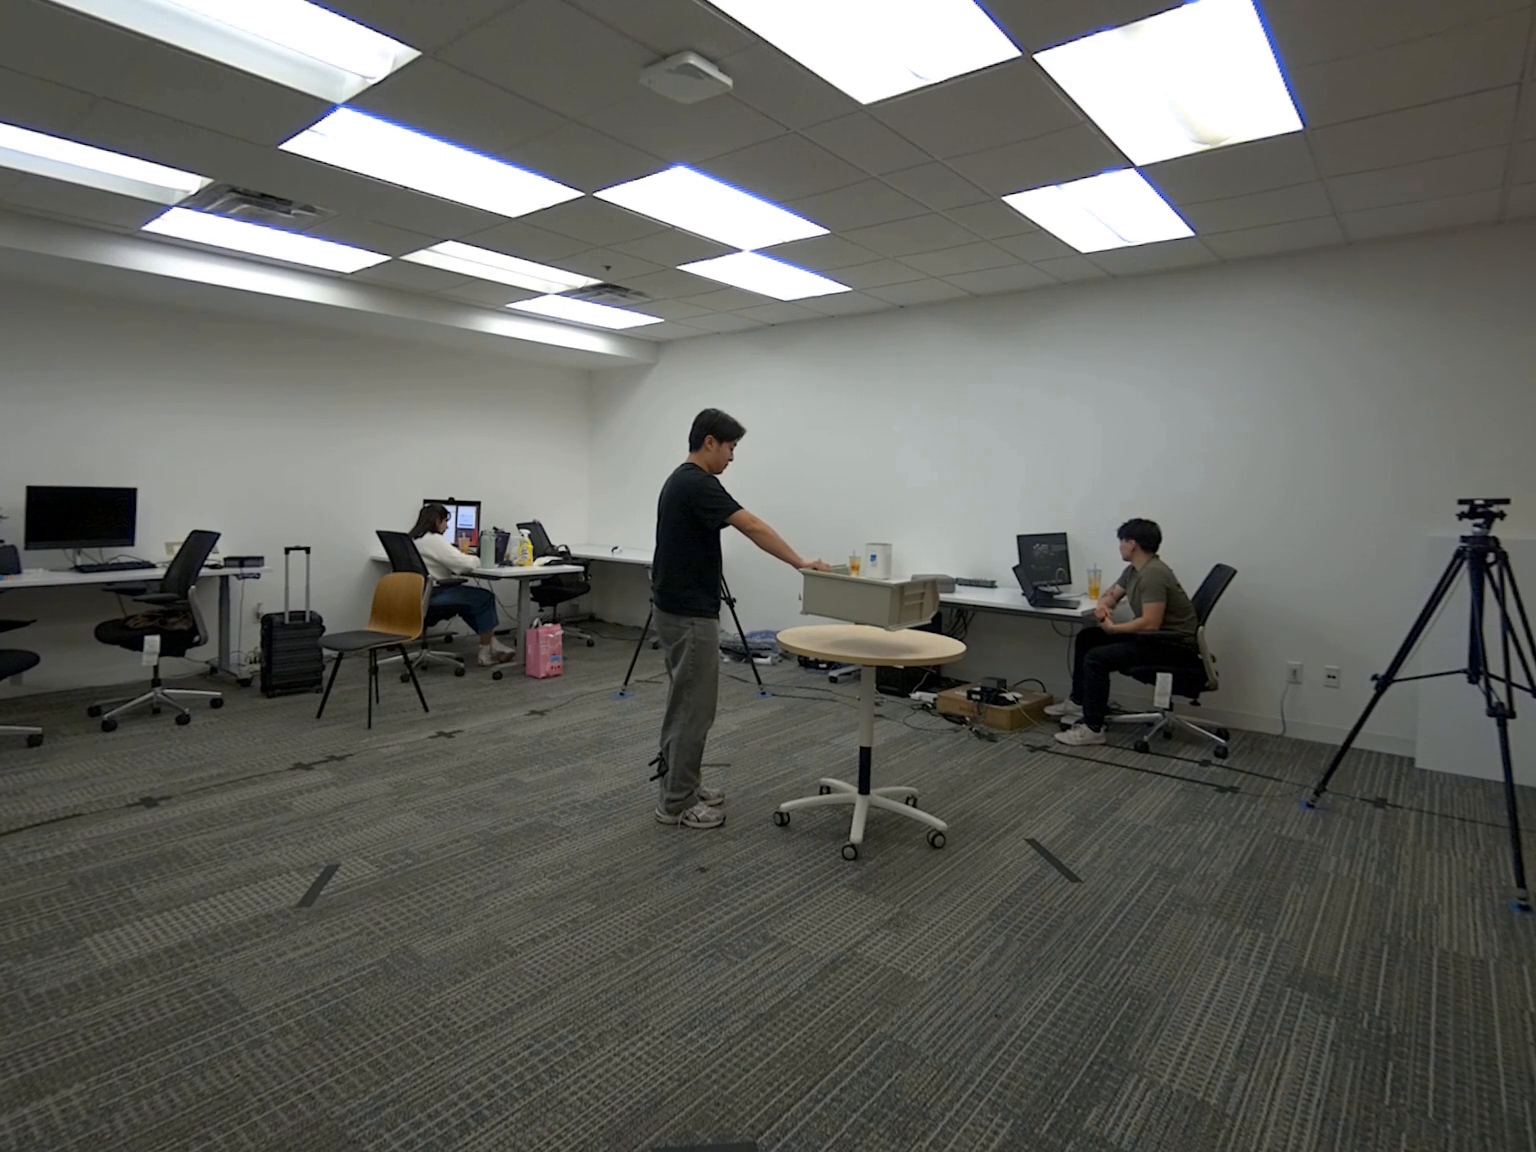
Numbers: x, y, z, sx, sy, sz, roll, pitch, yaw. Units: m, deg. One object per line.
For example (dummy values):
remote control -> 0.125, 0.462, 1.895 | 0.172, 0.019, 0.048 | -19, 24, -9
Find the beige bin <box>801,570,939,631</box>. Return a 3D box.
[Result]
beige bin -> 0.389, 0.071, 3.338 | 0.437, 0.188, 0.366 | 9, 10, 41
